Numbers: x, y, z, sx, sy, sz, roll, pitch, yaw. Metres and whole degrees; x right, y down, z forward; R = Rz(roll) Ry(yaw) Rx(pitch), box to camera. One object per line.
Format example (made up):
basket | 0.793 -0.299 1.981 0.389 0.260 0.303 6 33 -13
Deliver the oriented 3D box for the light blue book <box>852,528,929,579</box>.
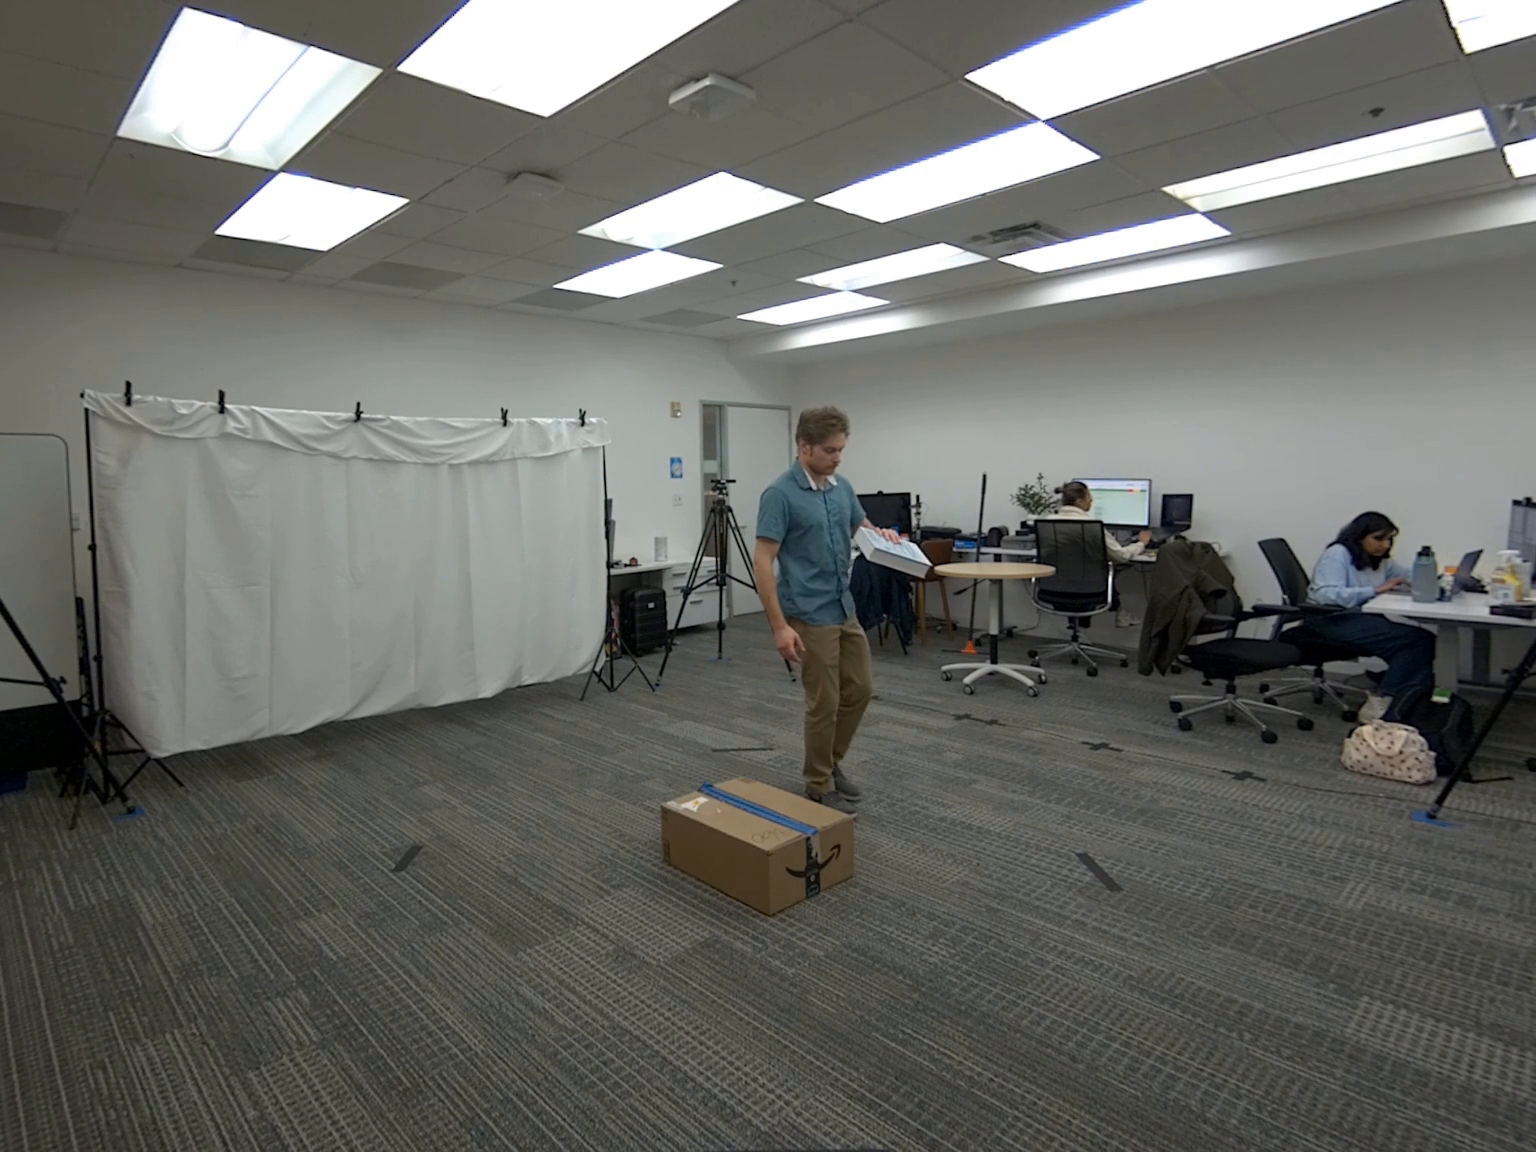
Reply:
light blue book | 0.467 -0.094 3.351 0.255 0.058 0.197 14 24 -20
